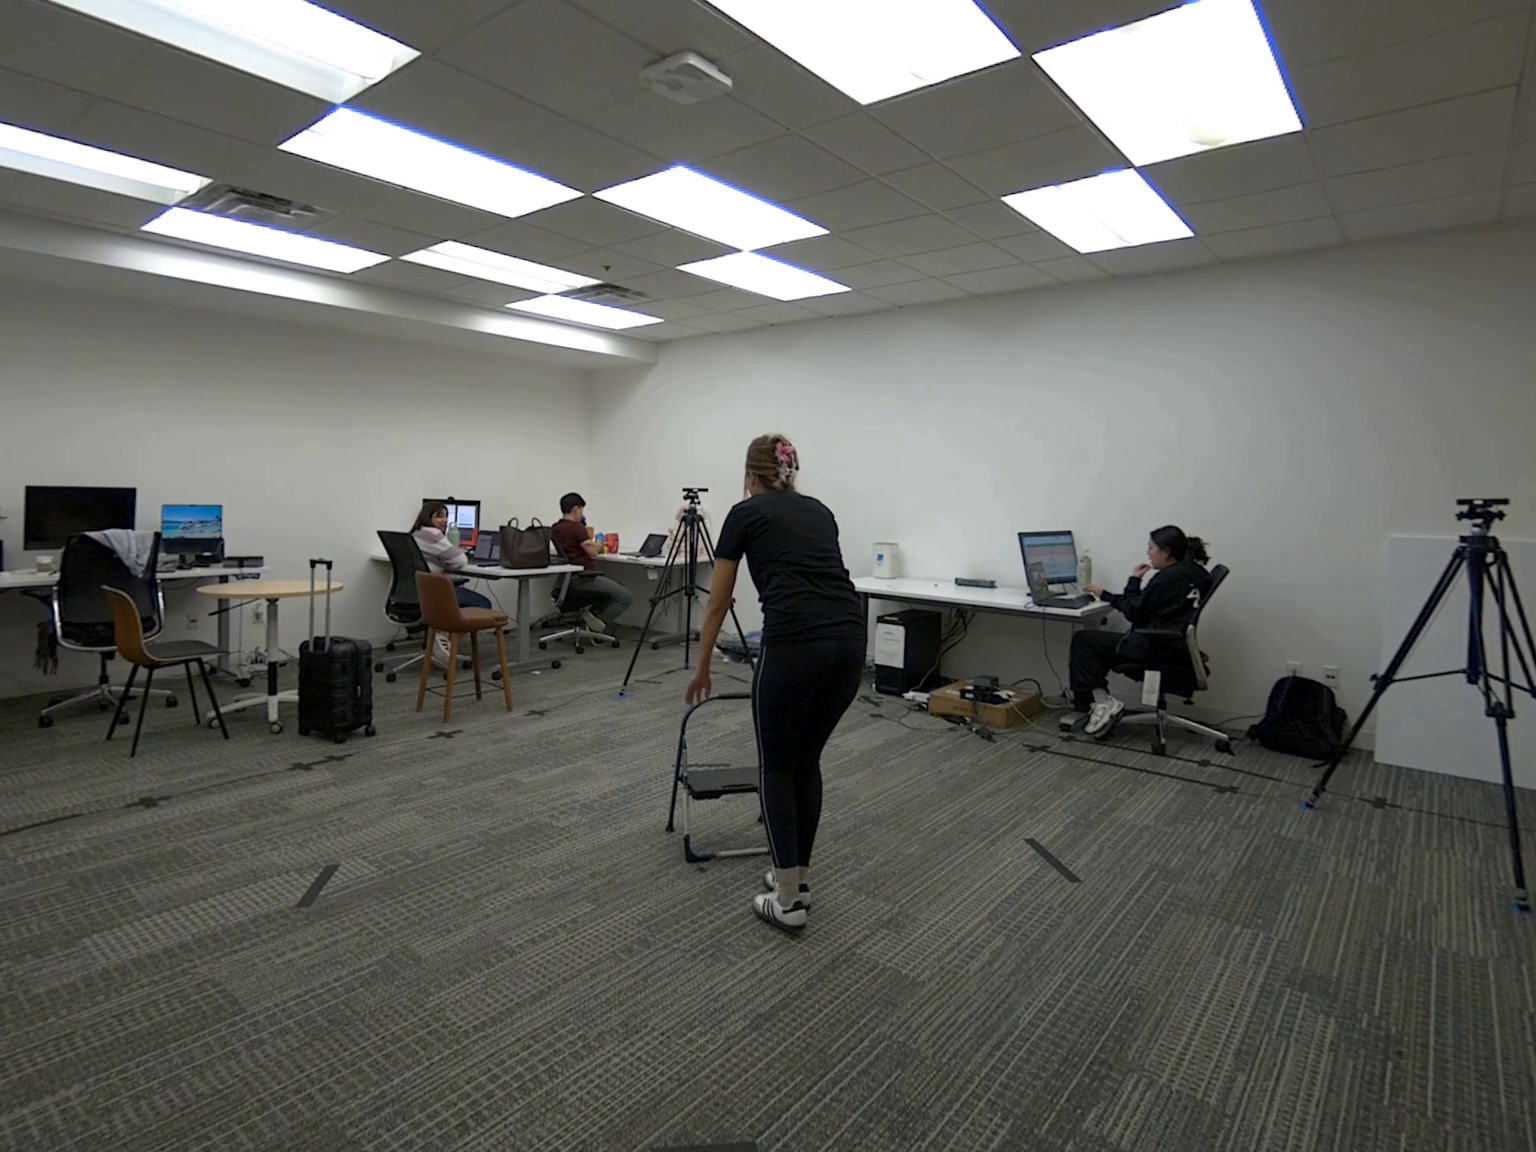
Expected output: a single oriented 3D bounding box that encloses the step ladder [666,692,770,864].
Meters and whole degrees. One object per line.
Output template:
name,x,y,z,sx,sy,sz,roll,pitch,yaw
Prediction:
step ladder,-0.170,0.751,3.356,0.423,0.605,0.356,0,3,-17
